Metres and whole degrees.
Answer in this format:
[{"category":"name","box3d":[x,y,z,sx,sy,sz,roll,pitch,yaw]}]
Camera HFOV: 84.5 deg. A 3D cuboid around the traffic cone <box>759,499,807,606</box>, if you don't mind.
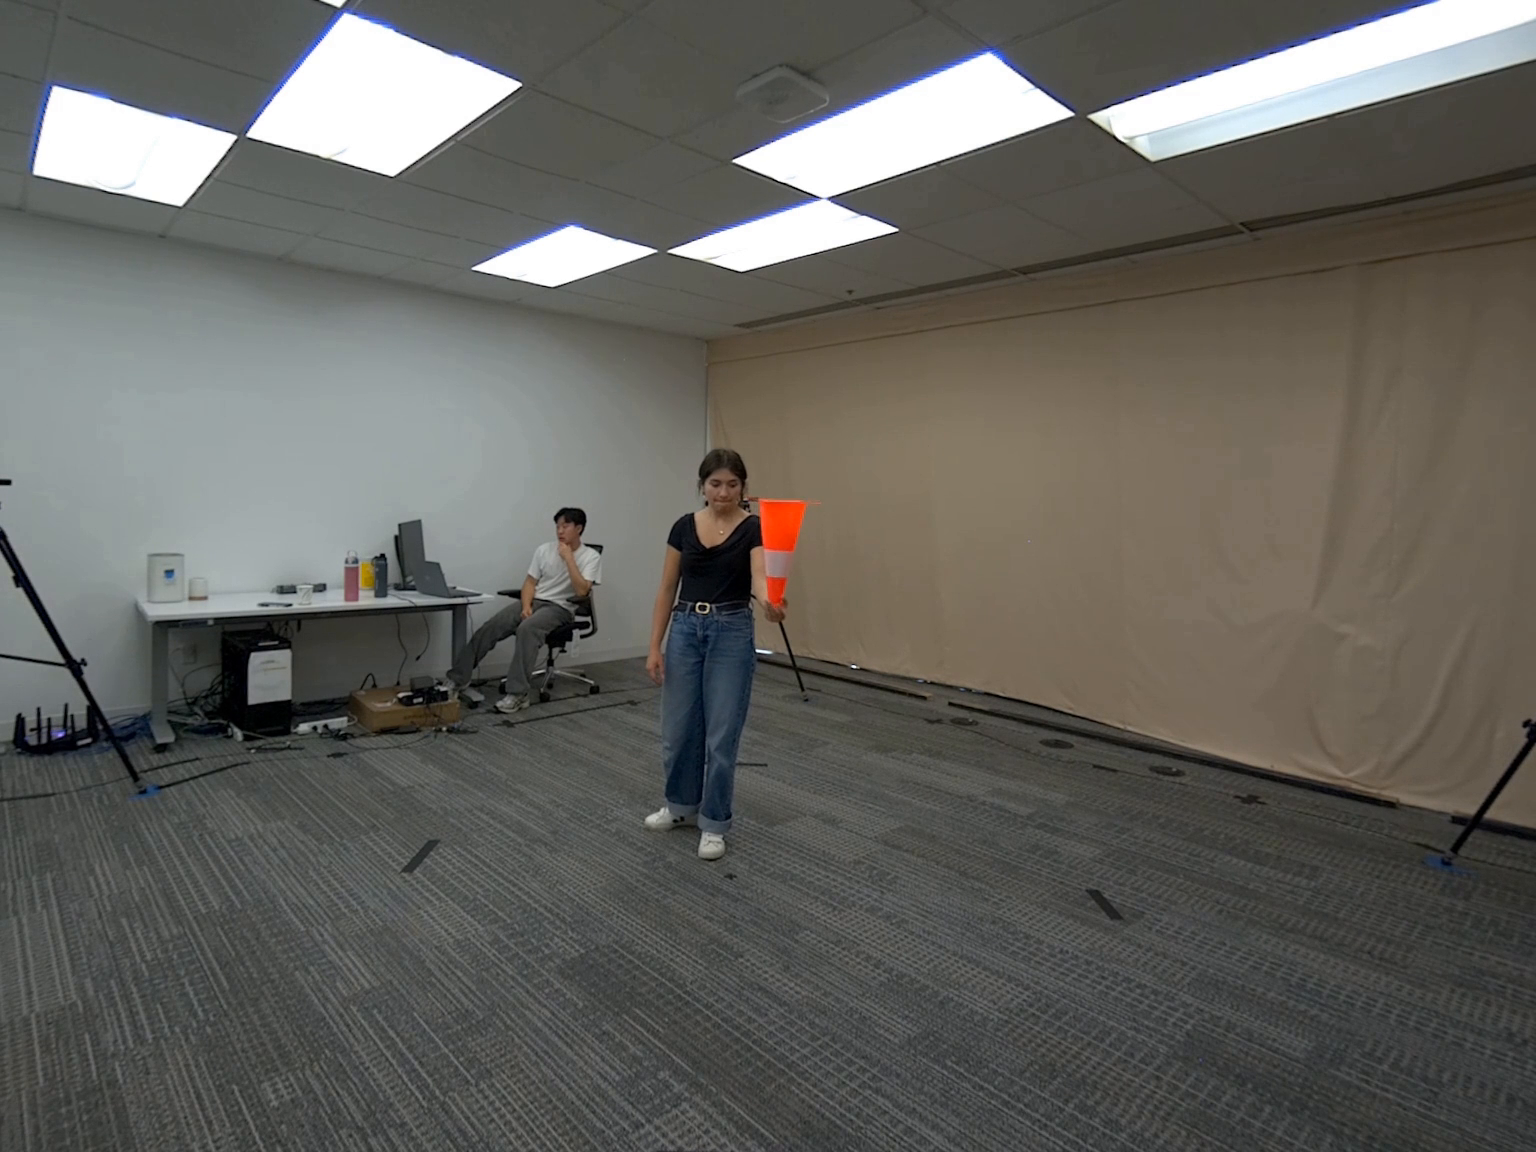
[{"category":"traffic cone","box3d":[0.029,-0.057,2.813,0.202,0.383,0.206,4,1,-18]}]
